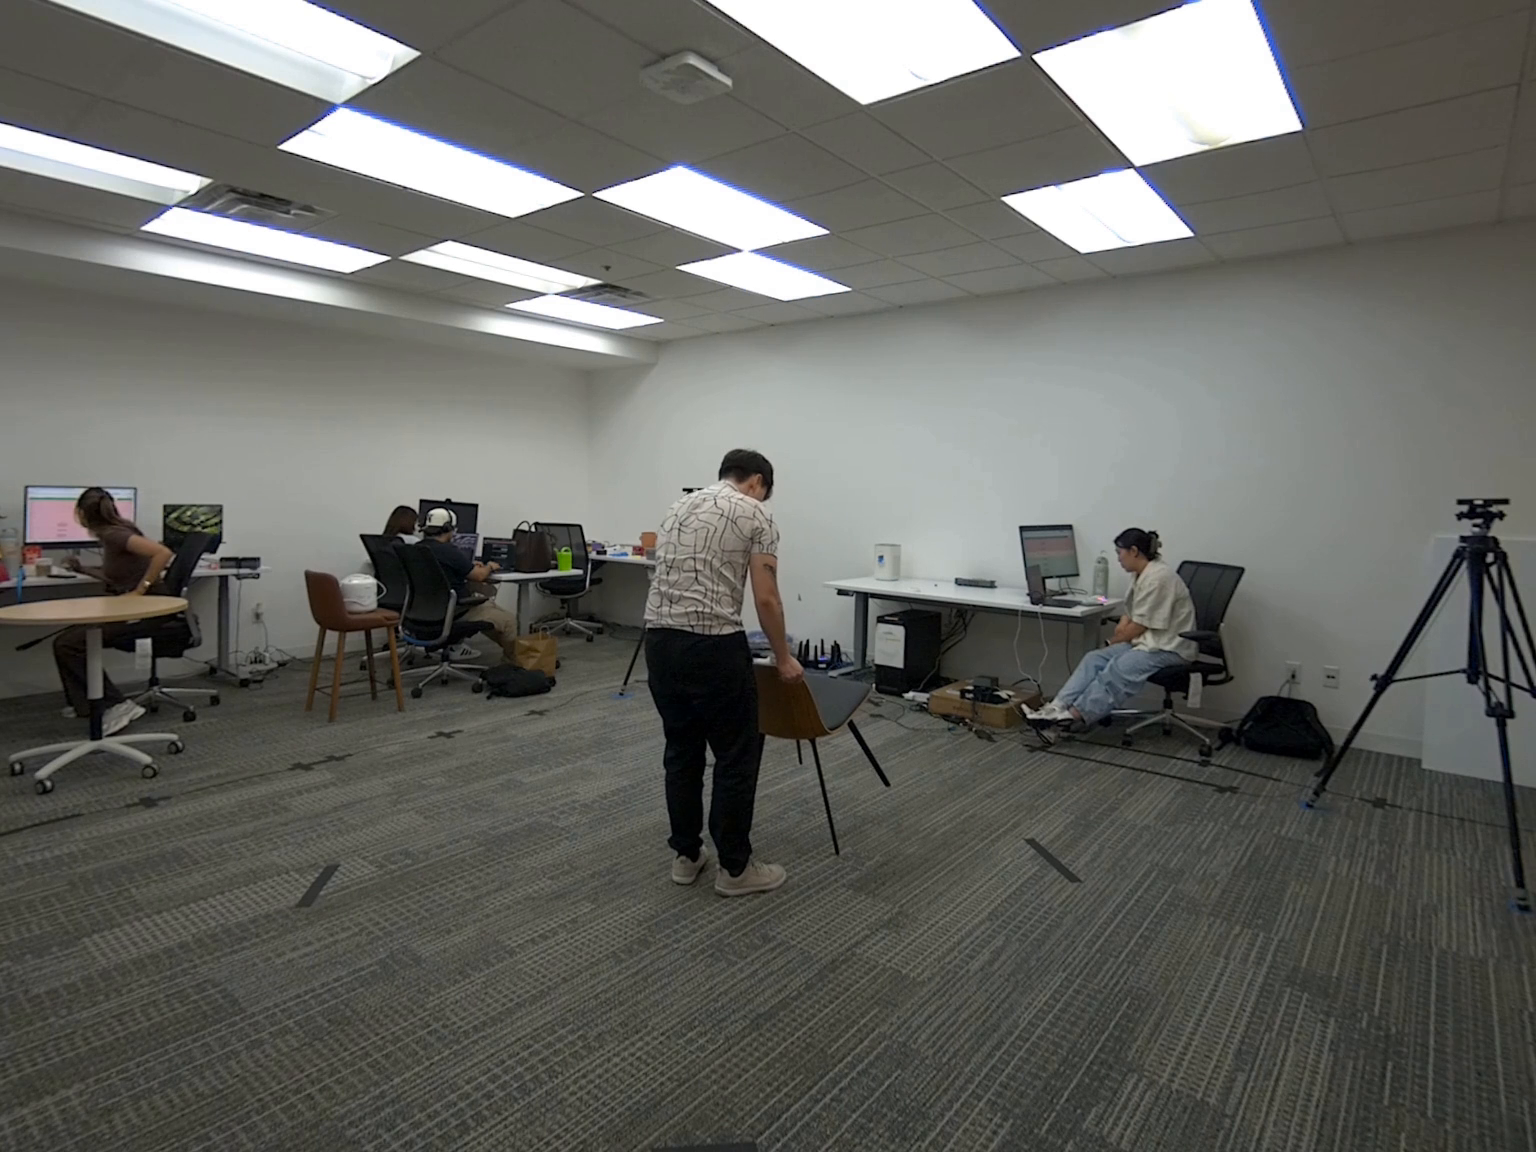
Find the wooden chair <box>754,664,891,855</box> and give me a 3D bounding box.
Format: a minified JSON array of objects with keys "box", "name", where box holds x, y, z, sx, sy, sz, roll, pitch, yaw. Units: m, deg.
[{"box":[0.124,0.564,3.419,0.494,0.855,0.519,4,29,37],"name":"wooden chair"}]
